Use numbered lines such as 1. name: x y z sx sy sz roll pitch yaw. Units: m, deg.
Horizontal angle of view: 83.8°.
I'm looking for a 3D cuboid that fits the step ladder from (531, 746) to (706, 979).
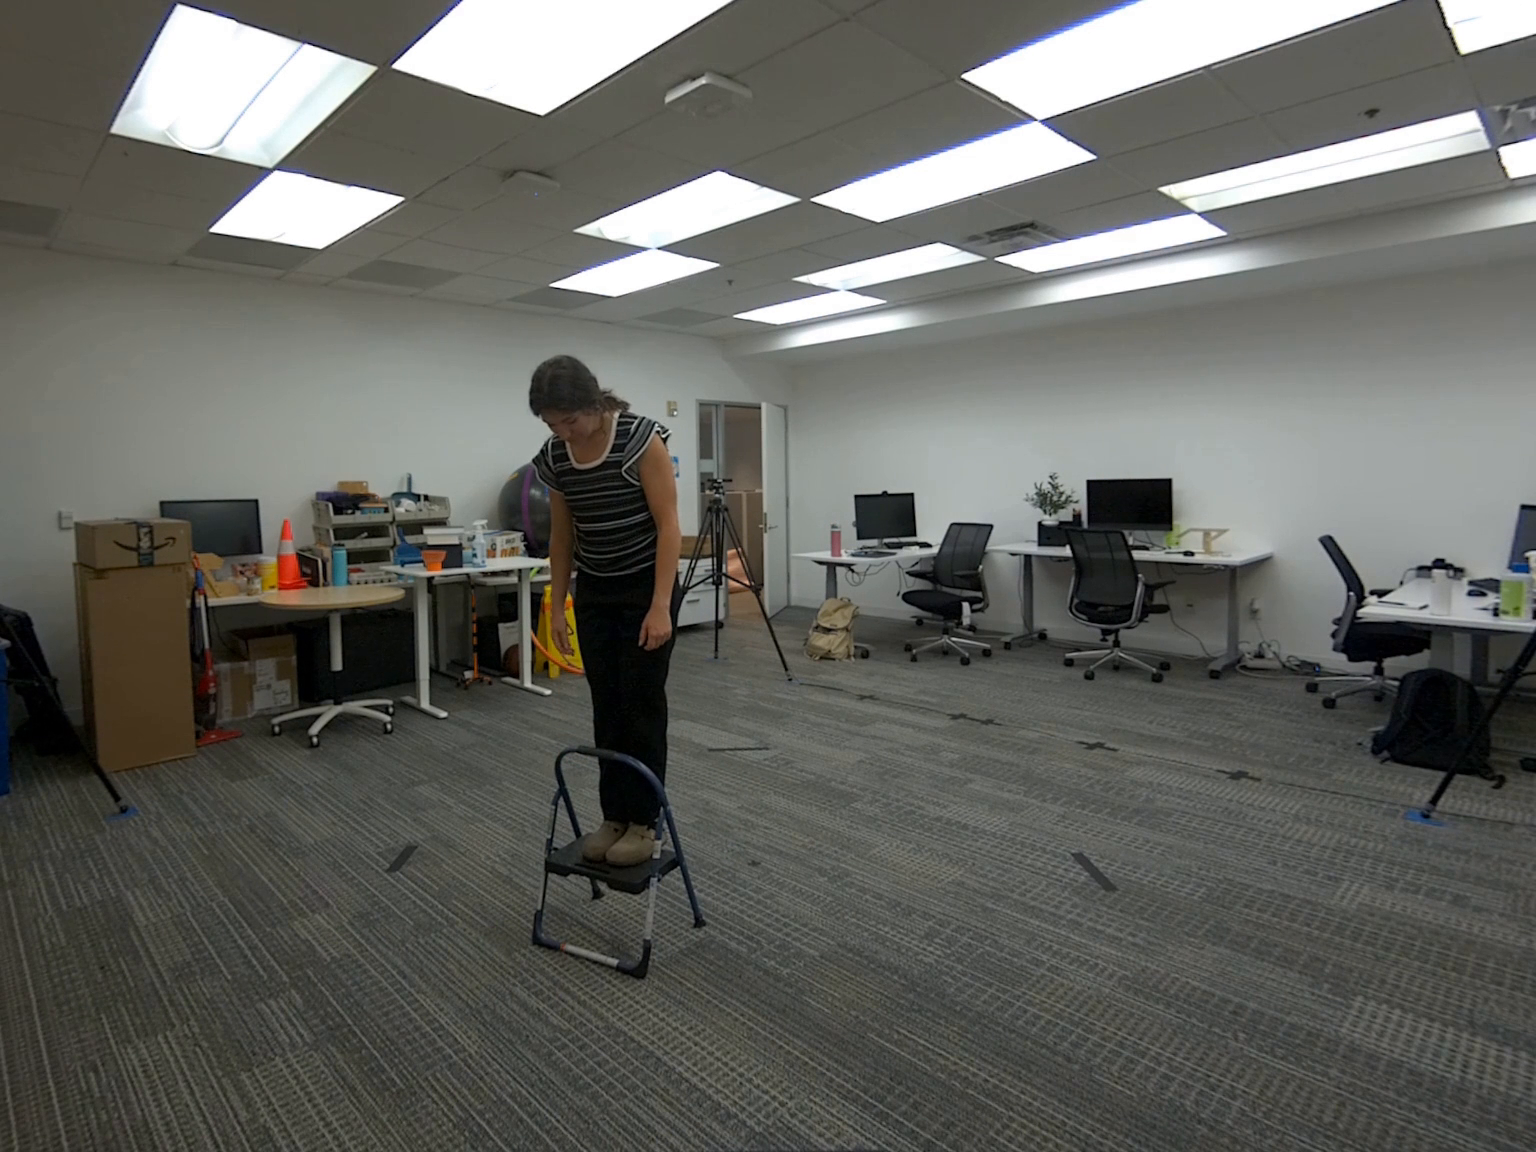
1. step ladder: -0.465 0.808 2.623 0.441 0.603 0.342 1 5 27
